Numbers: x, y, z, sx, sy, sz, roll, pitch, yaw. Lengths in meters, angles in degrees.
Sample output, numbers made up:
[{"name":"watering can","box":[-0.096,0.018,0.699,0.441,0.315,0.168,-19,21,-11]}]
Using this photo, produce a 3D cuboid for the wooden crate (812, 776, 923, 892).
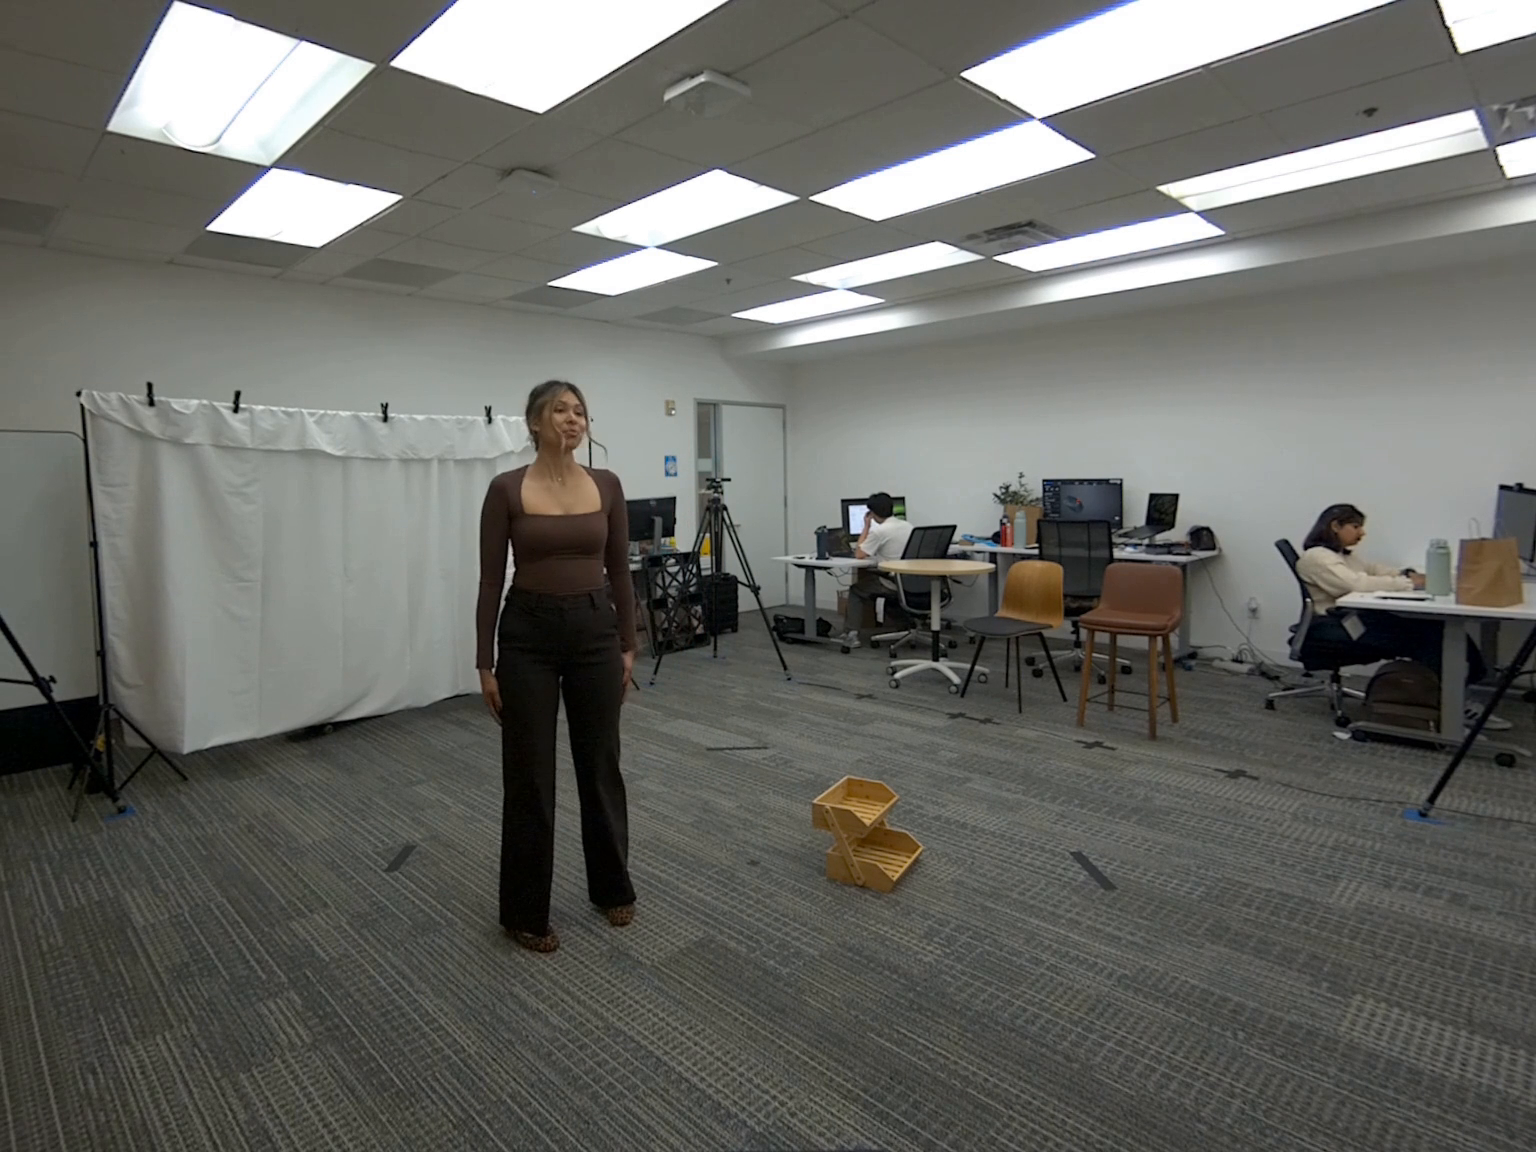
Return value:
[{"name":"wooden crate","box":[0.369,0.909,3.048,0.310,0.272,0.317,2,6,31]}]
